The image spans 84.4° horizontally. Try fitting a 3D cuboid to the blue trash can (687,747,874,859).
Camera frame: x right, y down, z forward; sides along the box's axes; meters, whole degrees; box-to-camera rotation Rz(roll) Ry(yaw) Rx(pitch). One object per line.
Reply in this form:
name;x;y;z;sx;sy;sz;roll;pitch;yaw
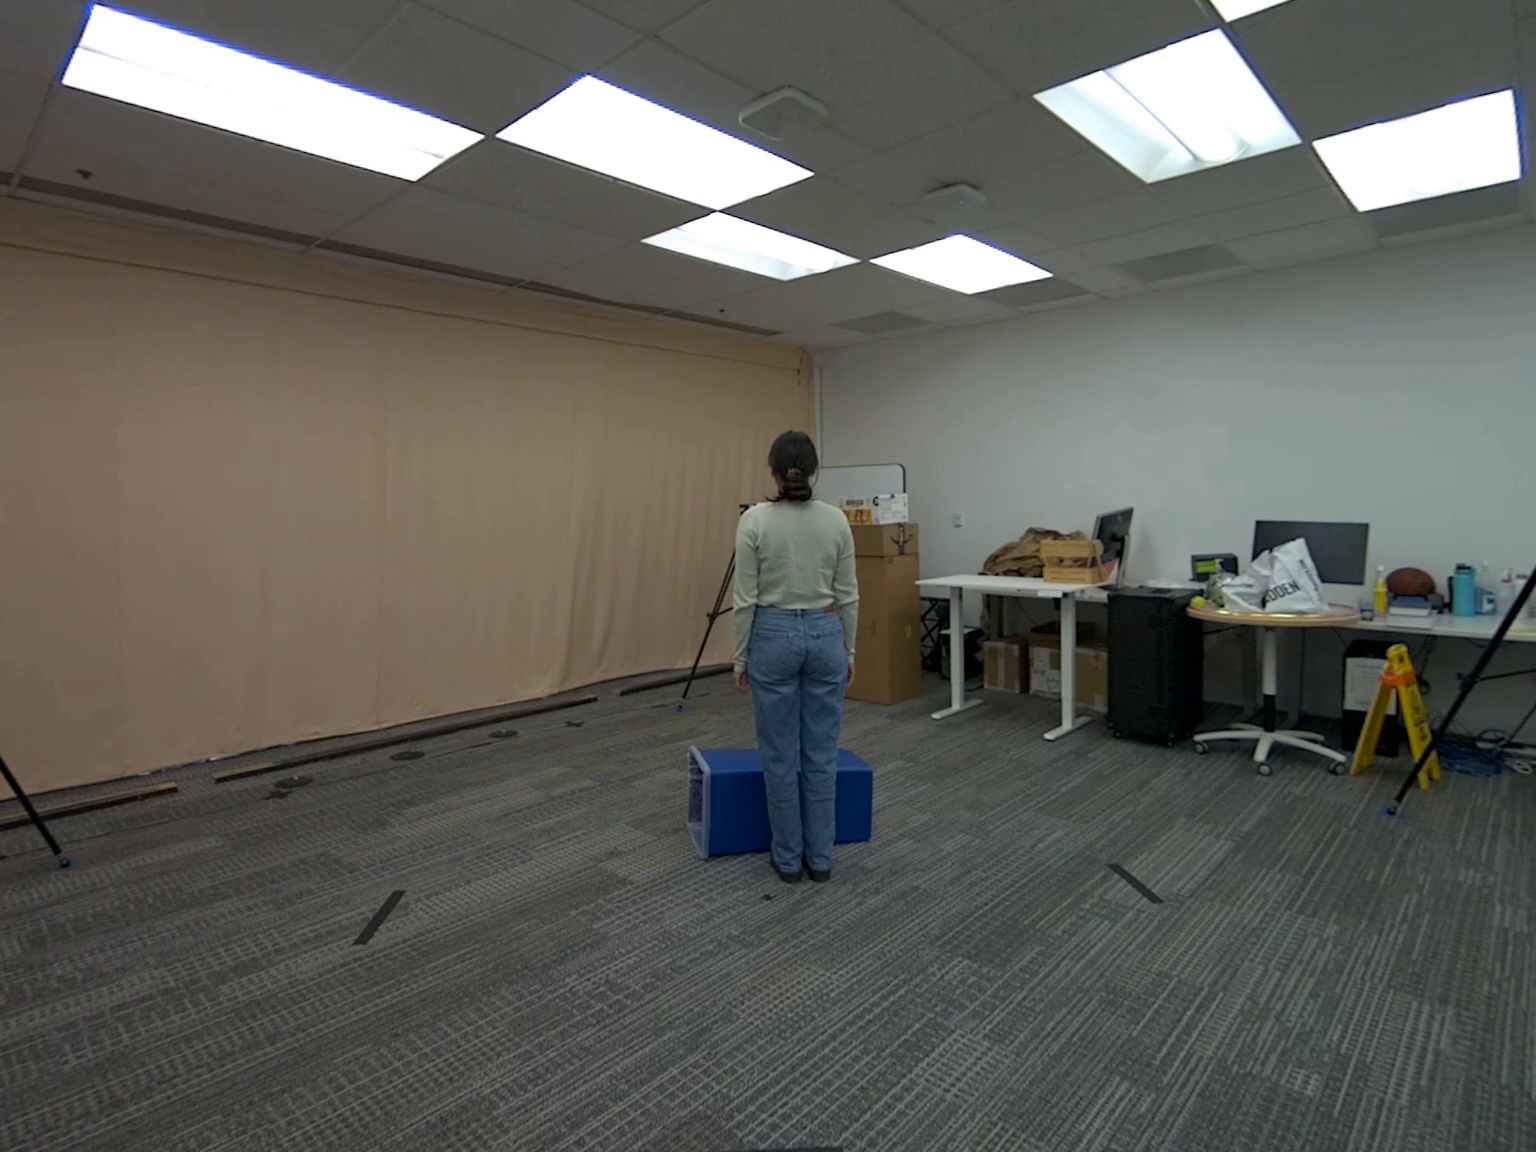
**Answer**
blue trash can;0.044;0.915;3.518;0.705;0.377;0.379;0;4;-12
